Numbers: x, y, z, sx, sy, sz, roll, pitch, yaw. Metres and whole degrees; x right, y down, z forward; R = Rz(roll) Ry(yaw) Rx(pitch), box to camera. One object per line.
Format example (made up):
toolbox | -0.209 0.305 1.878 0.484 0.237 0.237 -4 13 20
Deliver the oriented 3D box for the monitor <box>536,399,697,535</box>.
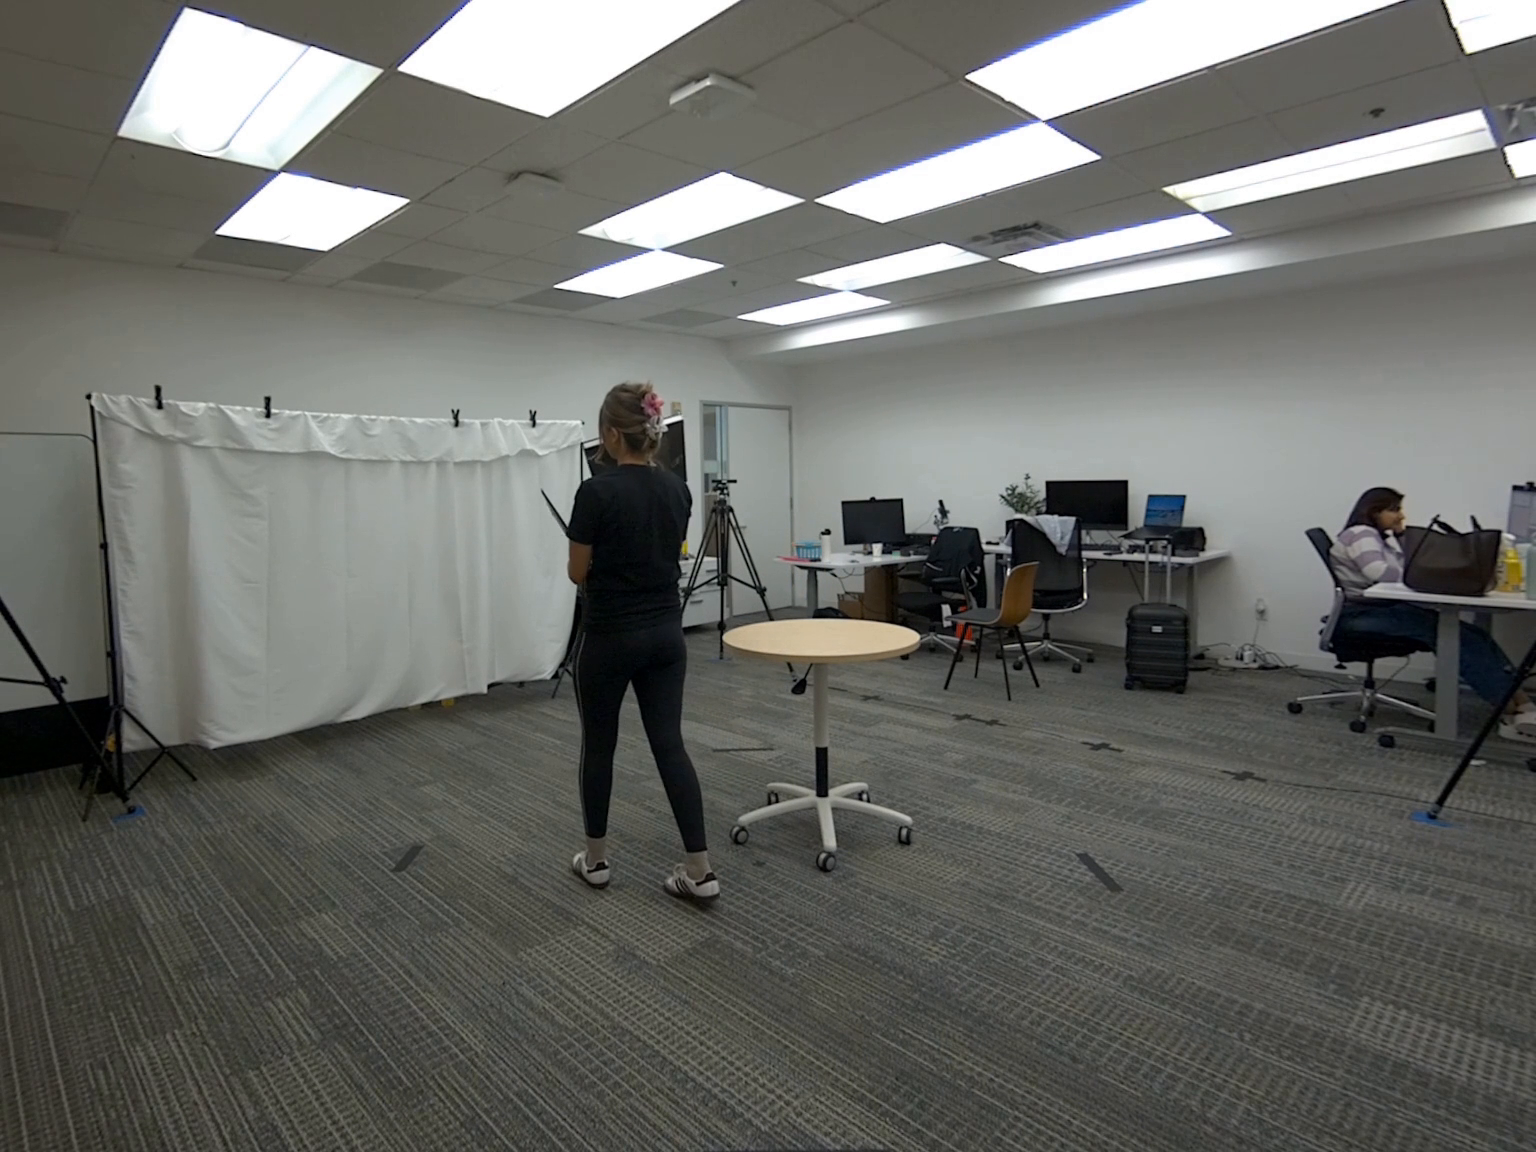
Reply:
monitor | -0.538 -0.340 3.186 0.520 0.190 0.532 -31 -11 -11
